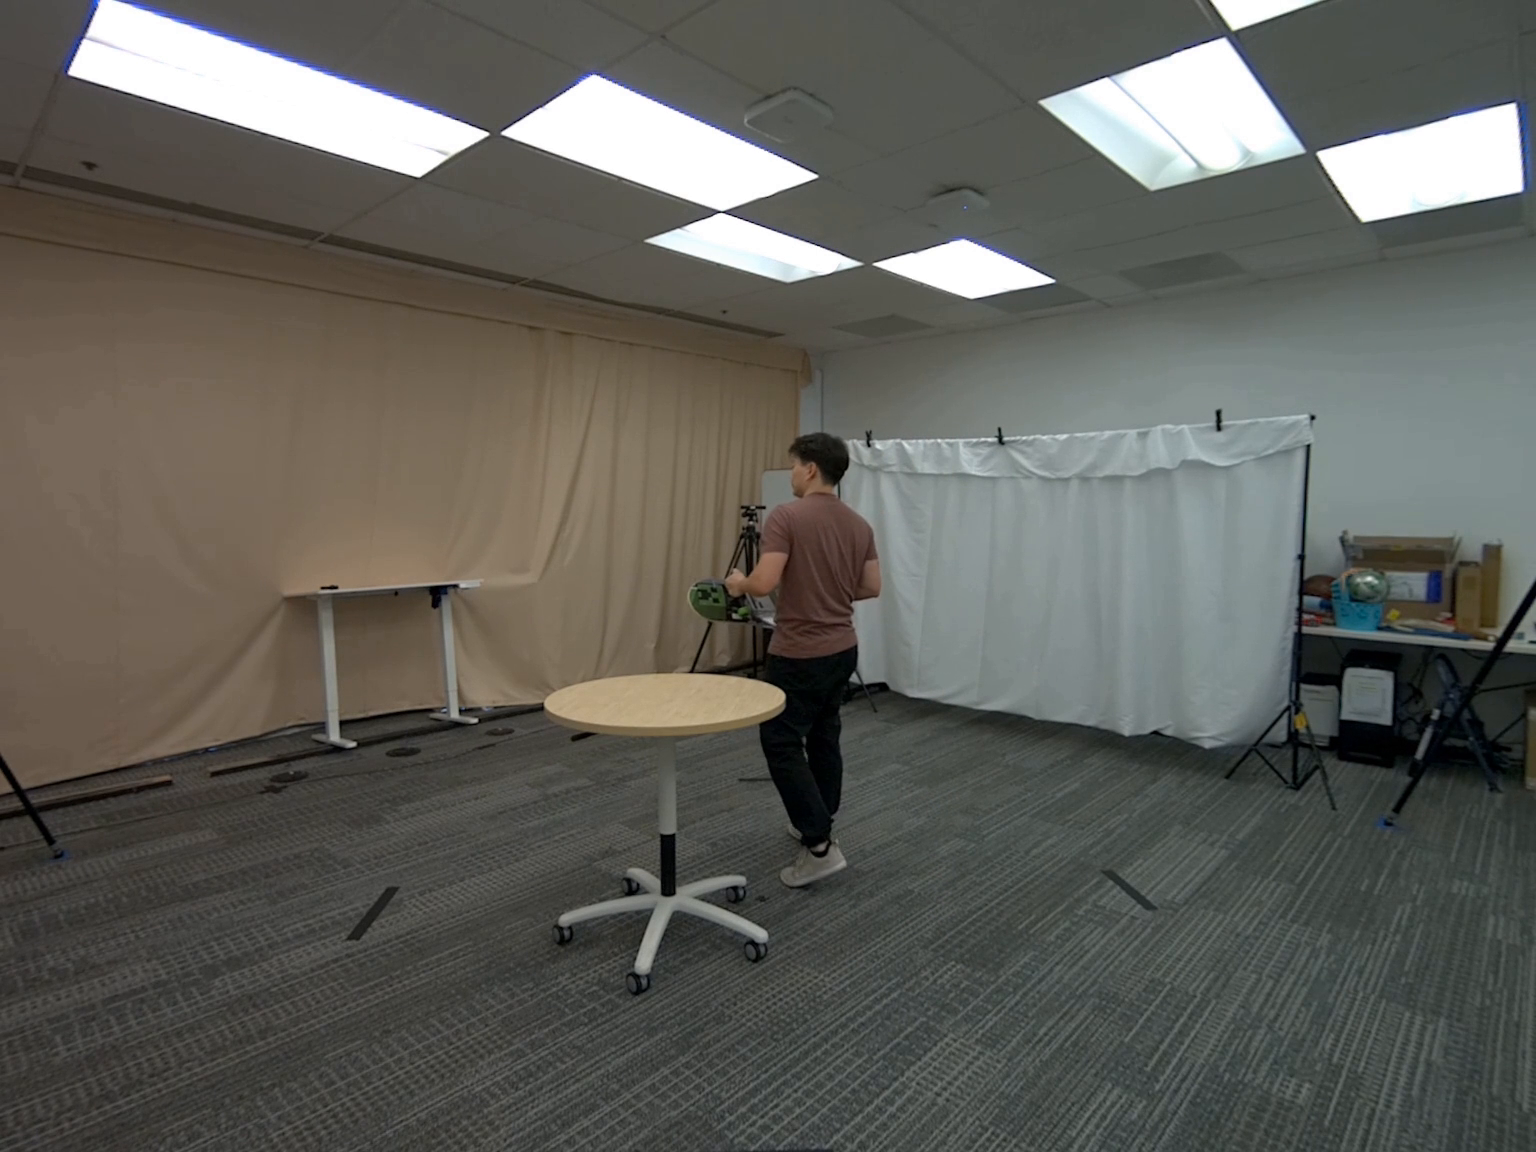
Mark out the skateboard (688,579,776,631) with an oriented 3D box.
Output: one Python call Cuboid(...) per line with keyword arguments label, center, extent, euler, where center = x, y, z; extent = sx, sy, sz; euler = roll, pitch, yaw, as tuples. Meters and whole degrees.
Cuboid(label="skateboard", center=(0.031, 0.121, 3.479), extent=(0.760, 0.198, 0.111), euler=(9, -38, -35))
